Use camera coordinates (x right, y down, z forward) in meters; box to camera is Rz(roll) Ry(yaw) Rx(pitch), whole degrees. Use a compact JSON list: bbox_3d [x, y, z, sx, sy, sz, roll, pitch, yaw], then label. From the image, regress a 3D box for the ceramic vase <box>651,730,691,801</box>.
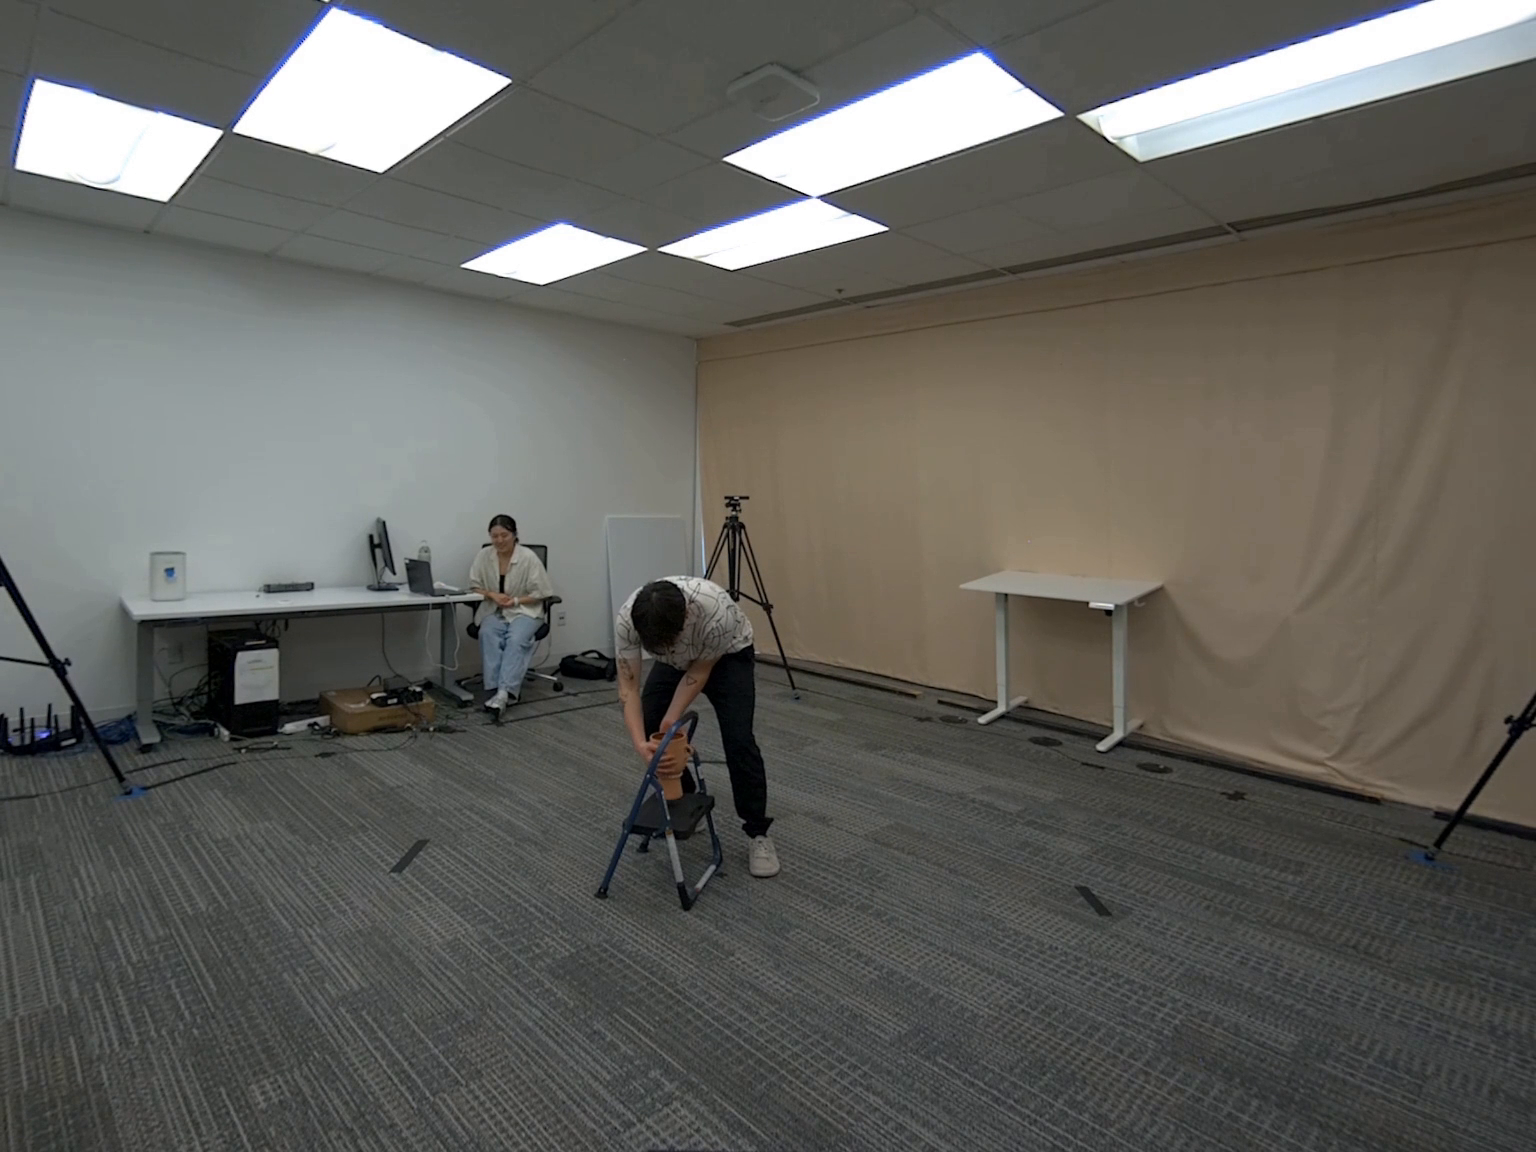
[{"bbox_3d":[-0.366,0.689,3.072,0.132,0.219,0.162,-2,2,-32],"label":"ceramic vase"}]
